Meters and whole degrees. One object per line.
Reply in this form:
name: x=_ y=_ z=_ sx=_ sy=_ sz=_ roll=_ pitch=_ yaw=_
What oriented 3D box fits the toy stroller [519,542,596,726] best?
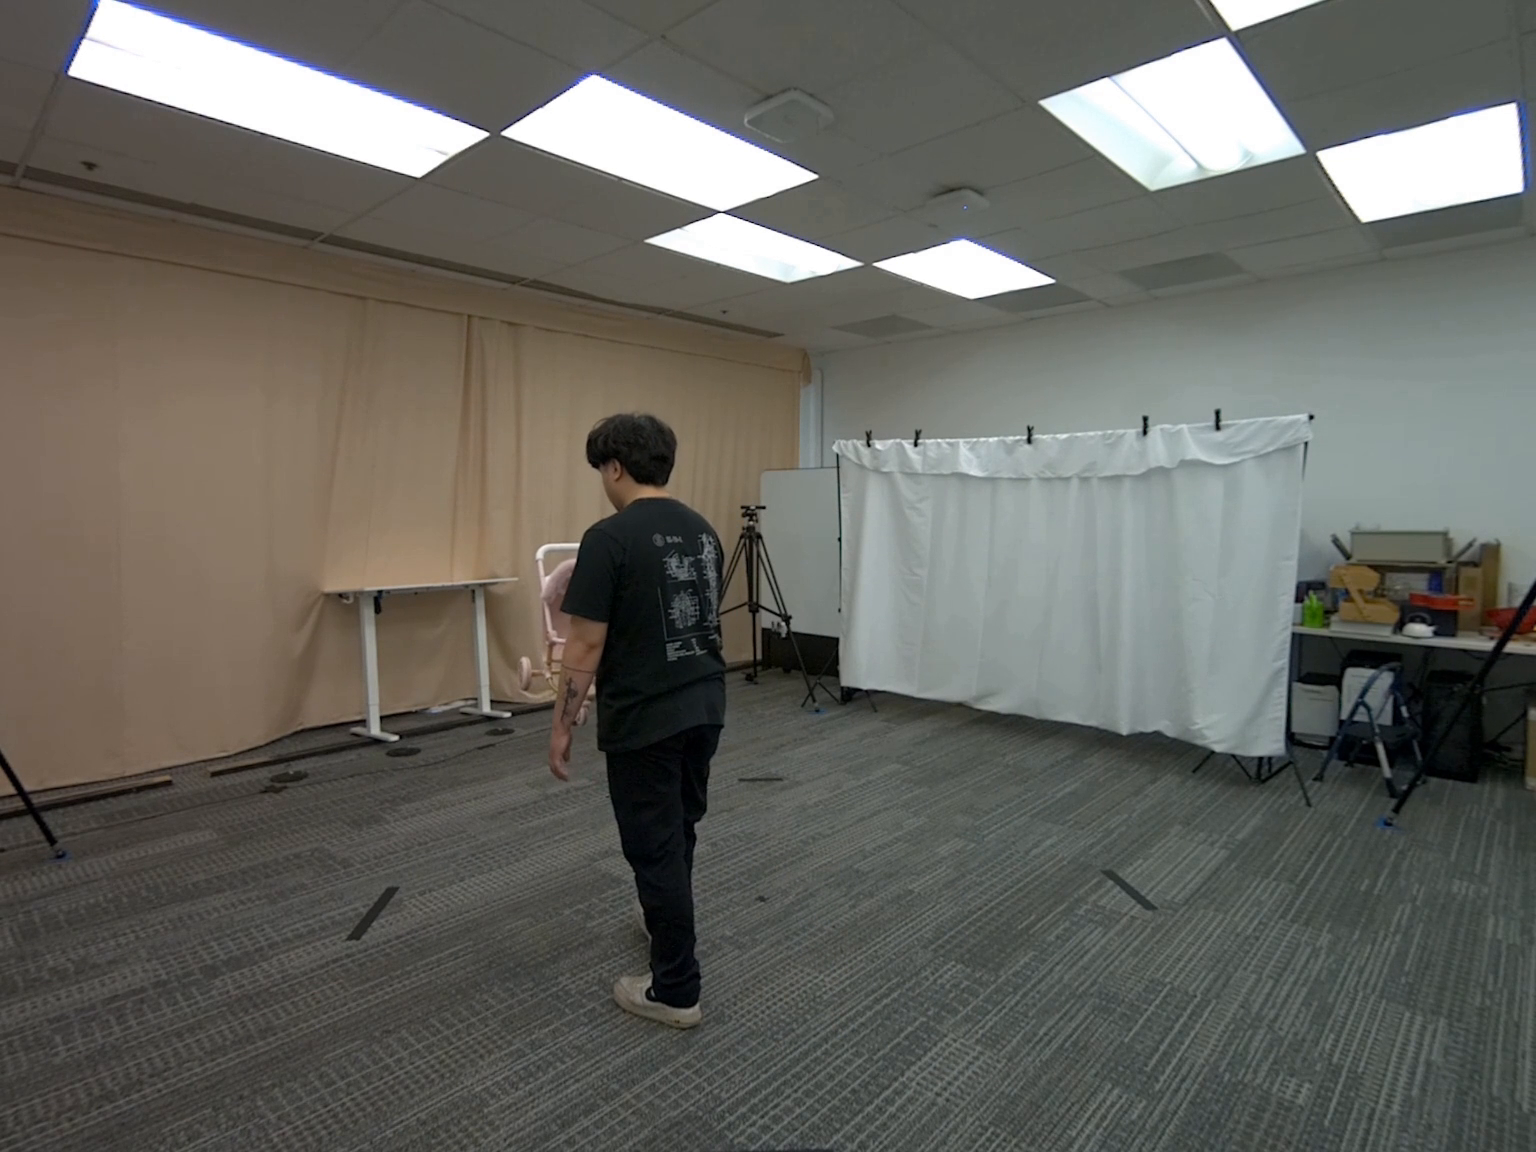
toy stroller: x=-0.620 y=0.178 z=2.681 sx=0.275 sy=0.534 sz=0.350 roll=2 pitch=4 yaw=-24
